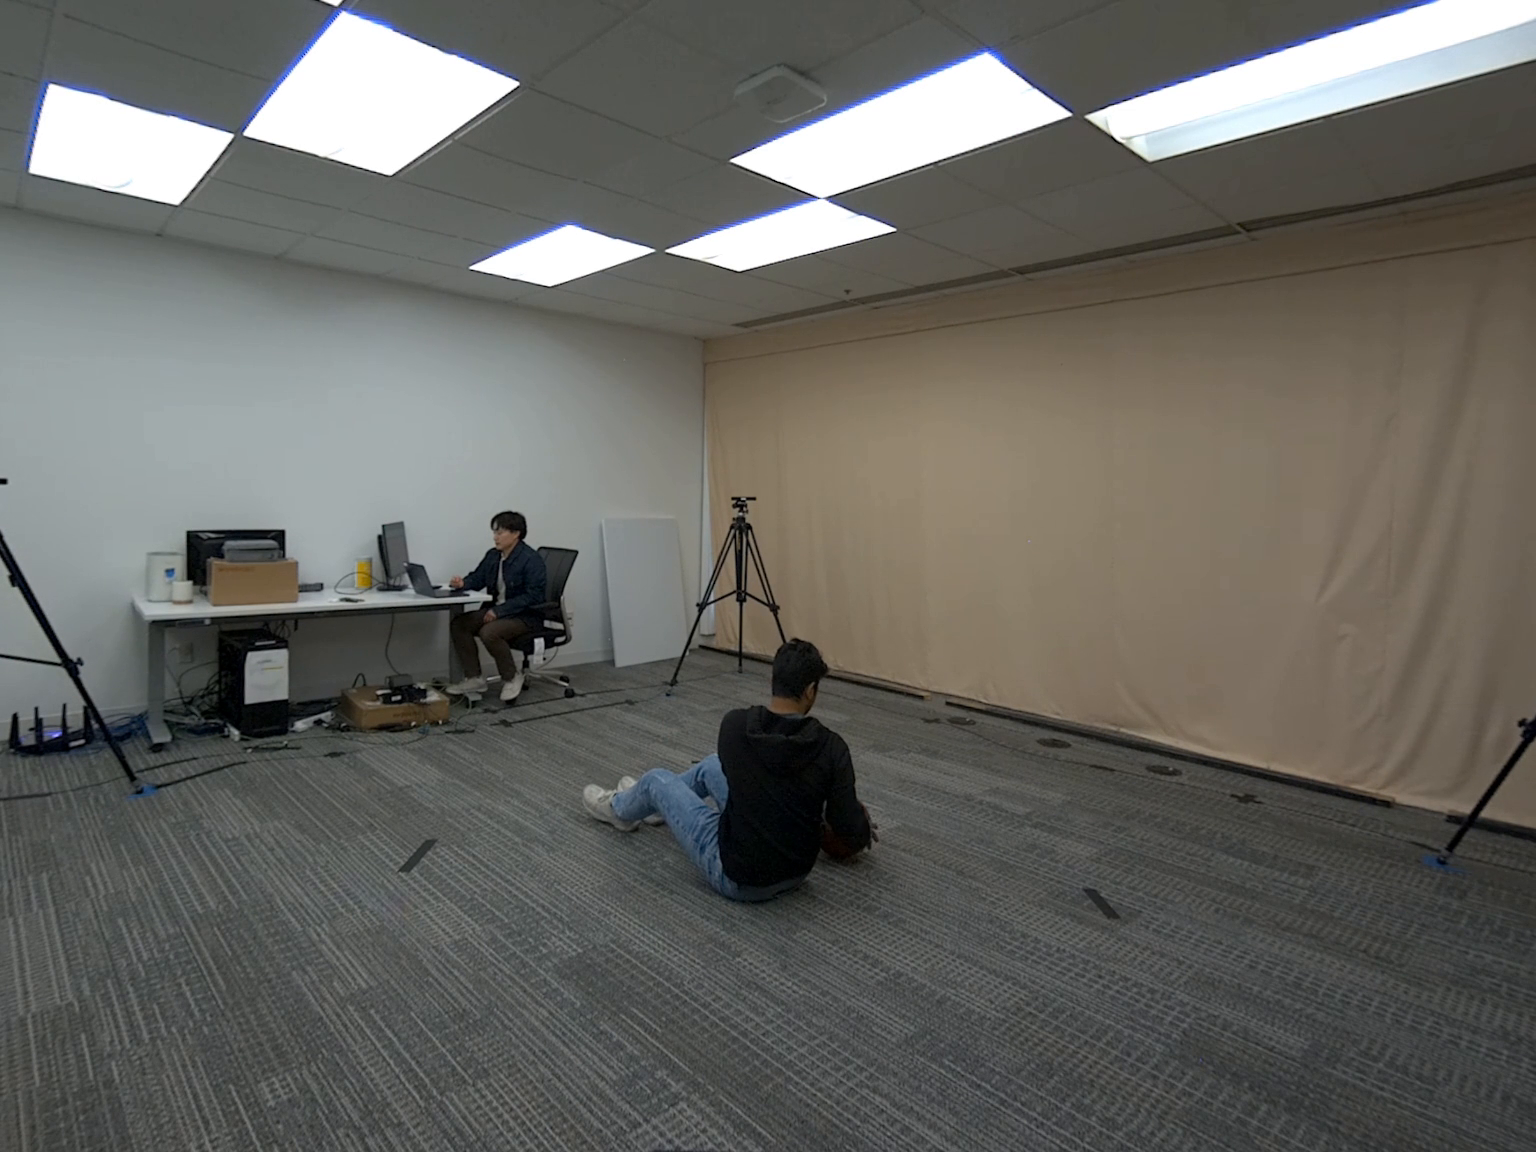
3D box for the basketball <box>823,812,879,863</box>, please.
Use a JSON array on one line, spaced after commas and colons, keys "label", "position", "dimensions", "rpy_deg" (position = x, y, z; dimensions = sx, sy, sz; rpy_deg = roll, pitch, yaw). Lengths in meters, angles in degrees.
[{"label": "basketball", "position": [0.280, 0.982, 3.308], "dimensions": [0.236, 0.235, 0.237], "rpy_deg": [1, 4, -1]}]
